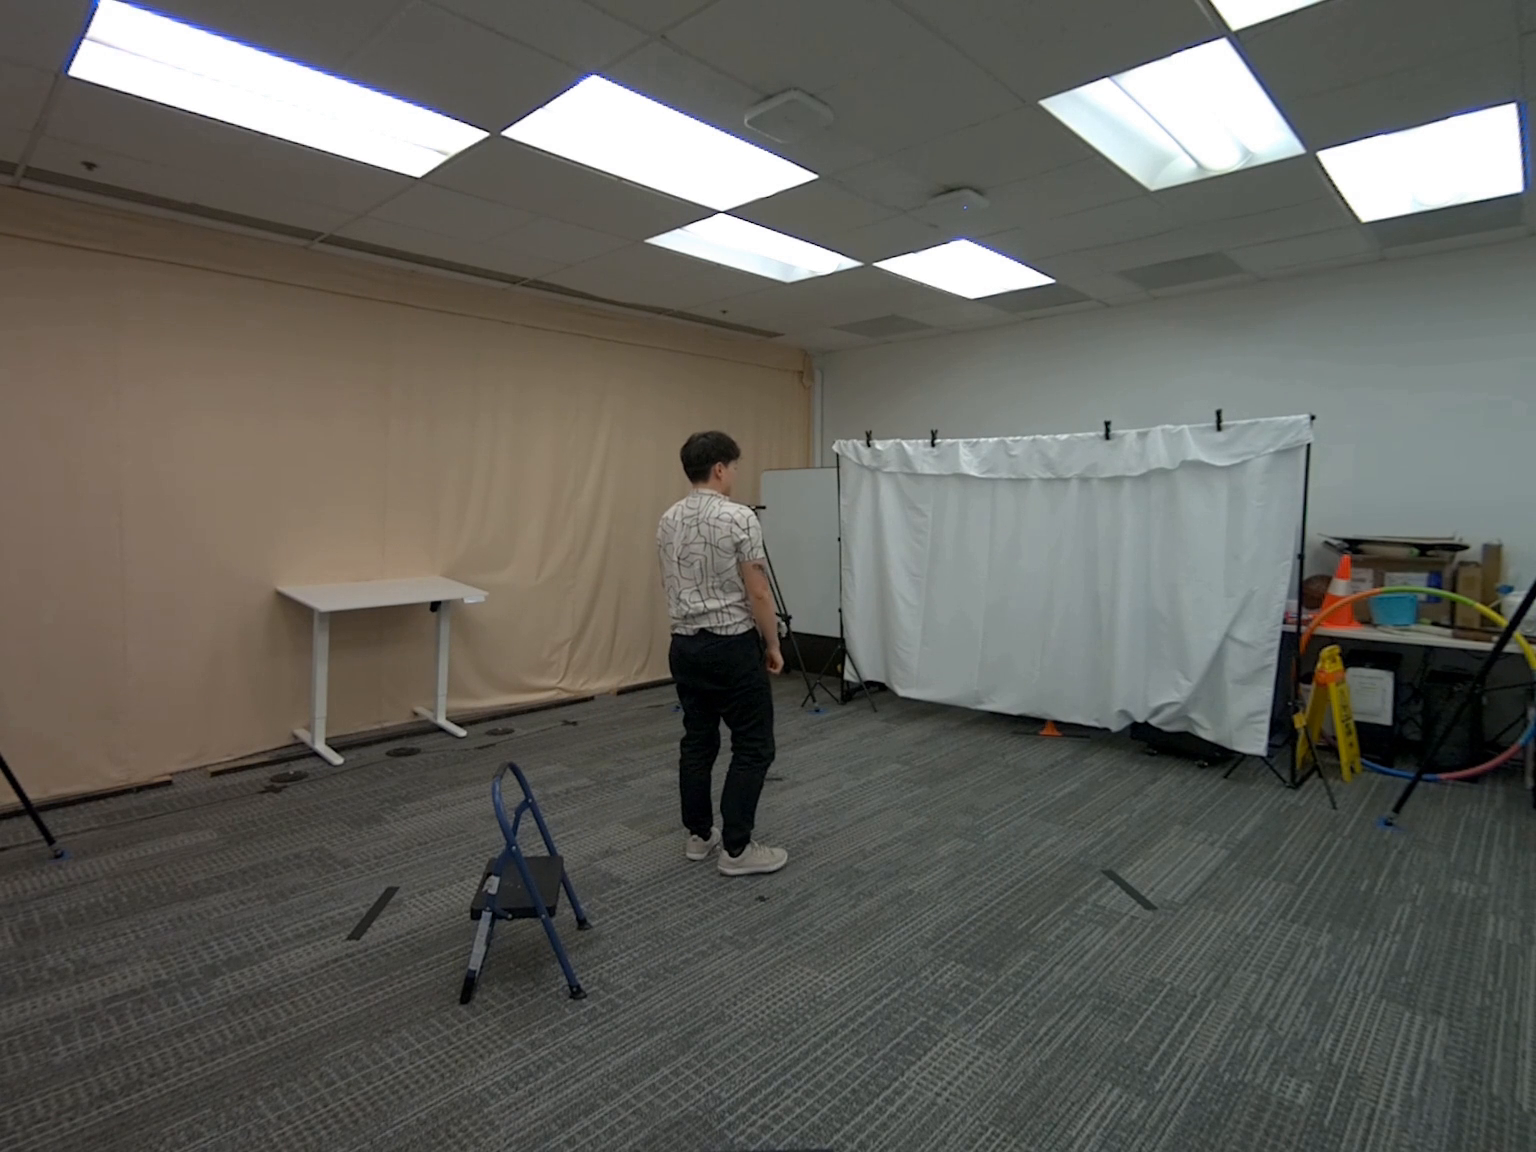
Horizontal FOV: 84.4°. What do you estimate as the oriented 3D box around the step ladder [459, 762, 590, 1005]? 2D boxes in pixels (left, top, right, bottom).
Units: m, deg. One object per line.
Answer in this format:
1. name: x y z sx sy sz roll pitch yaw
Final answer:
1. step ladder: -0.732 0.885 2.557 0.346 0.605 0.435 -1 3 -9
